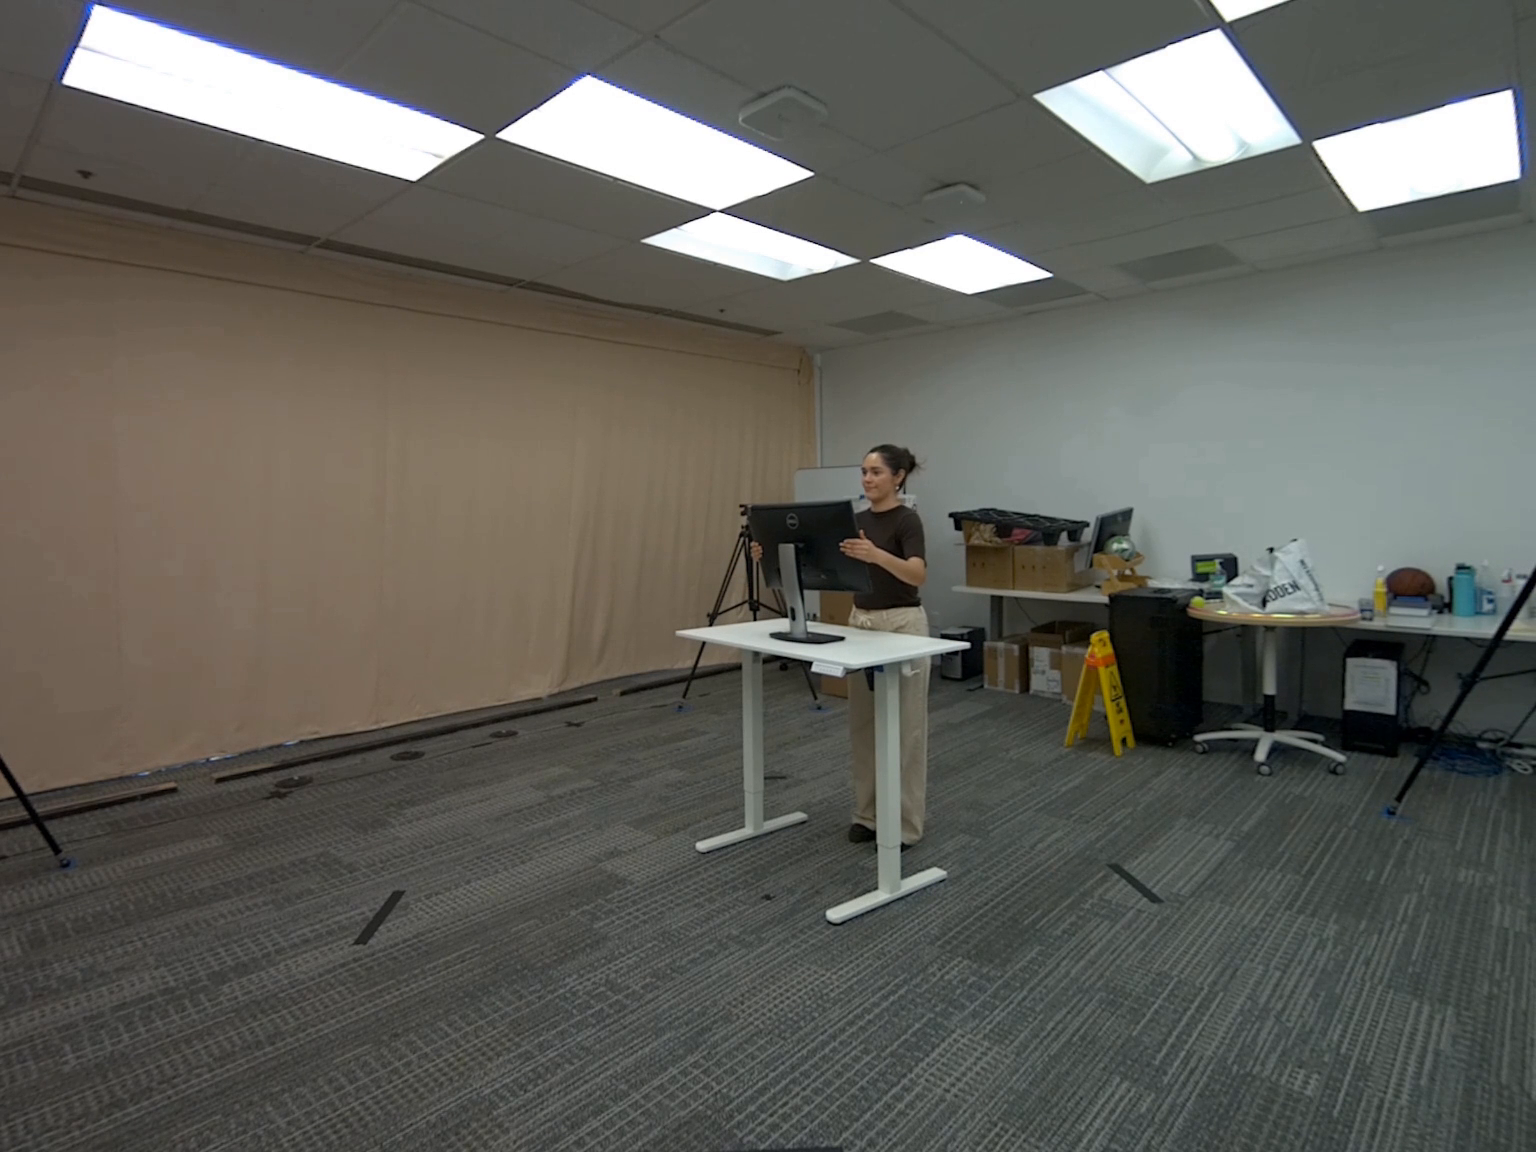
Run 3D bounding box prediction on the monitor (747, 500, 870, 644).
[{"bbox_3d":[0.131,-0.014,3.161,0.557,0.521,0.182,1,7,45],"label":"monitor"}]
